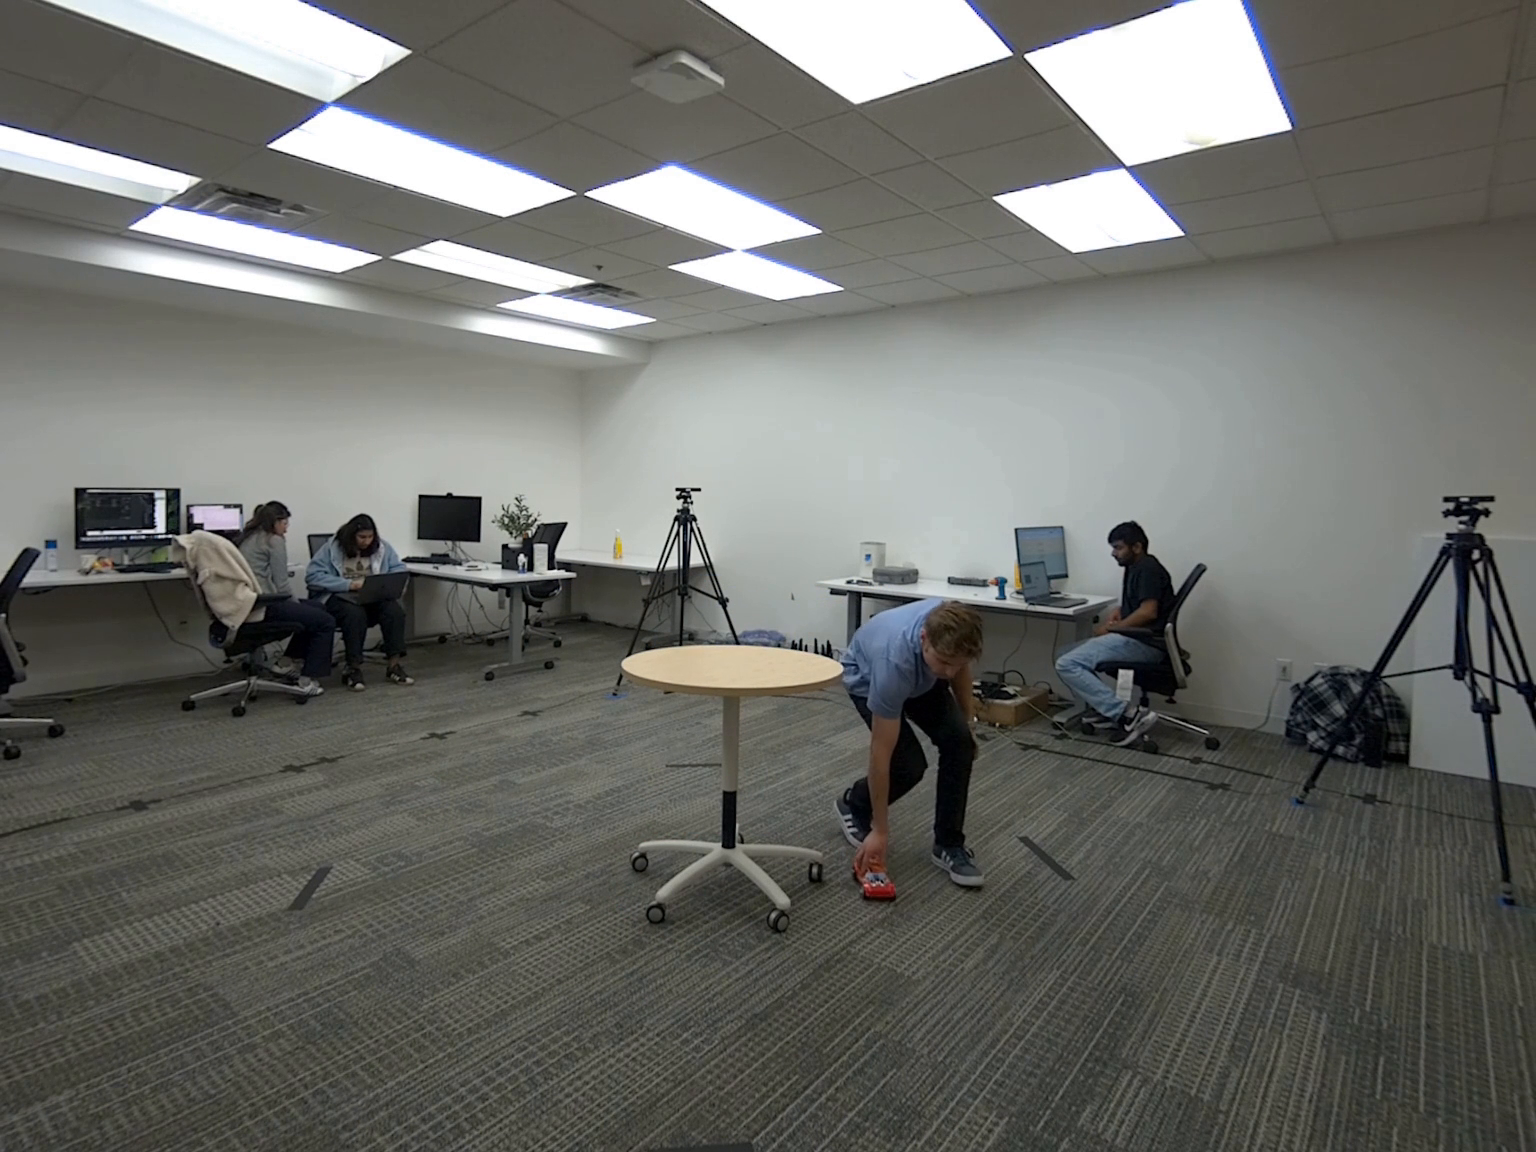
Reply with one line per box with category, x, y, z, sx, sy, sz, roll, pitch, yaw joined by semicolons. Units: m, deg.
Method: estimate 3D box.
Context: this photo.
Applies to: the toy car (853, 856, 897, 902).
toy car;0.359;1.061;3.003;0.129;0.082;0.260;-1;17;-7
